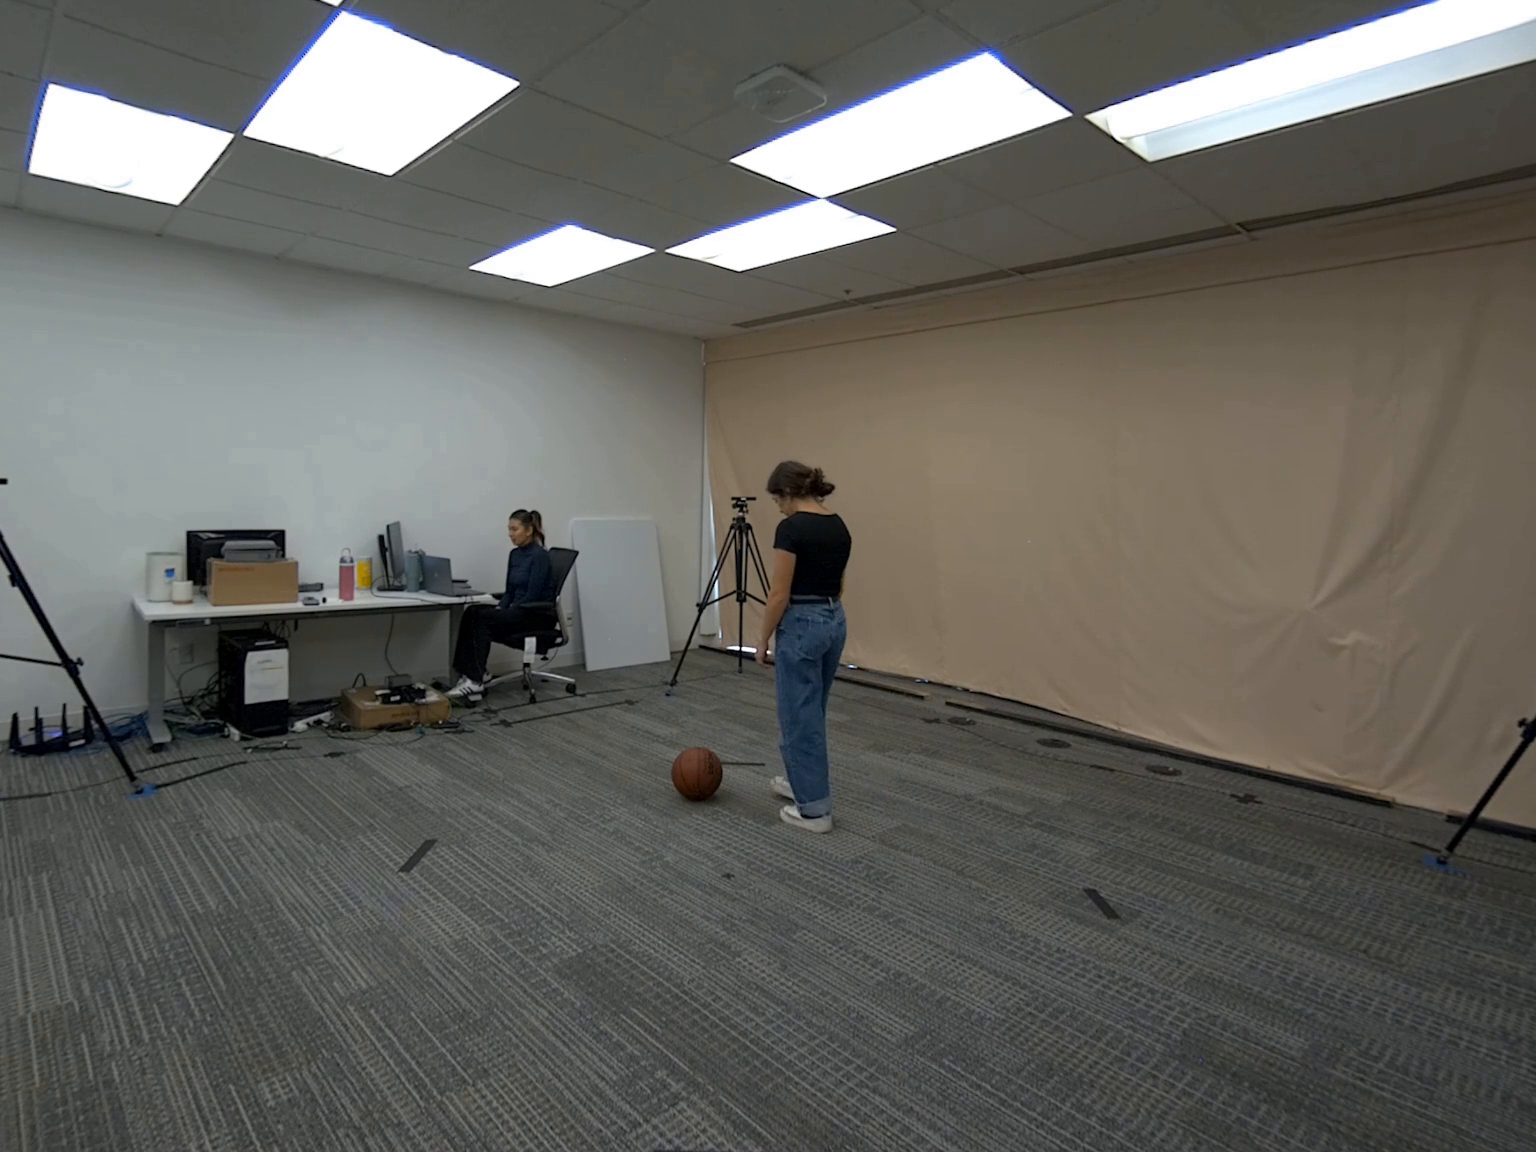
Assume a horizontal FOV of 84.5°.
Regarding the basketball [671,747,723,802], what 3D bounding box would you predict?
[{"bbox_3d":[-0.340,0.911,3.906,0.236,0.235,0.237,1,4,-1],"label":"basketball"}]
